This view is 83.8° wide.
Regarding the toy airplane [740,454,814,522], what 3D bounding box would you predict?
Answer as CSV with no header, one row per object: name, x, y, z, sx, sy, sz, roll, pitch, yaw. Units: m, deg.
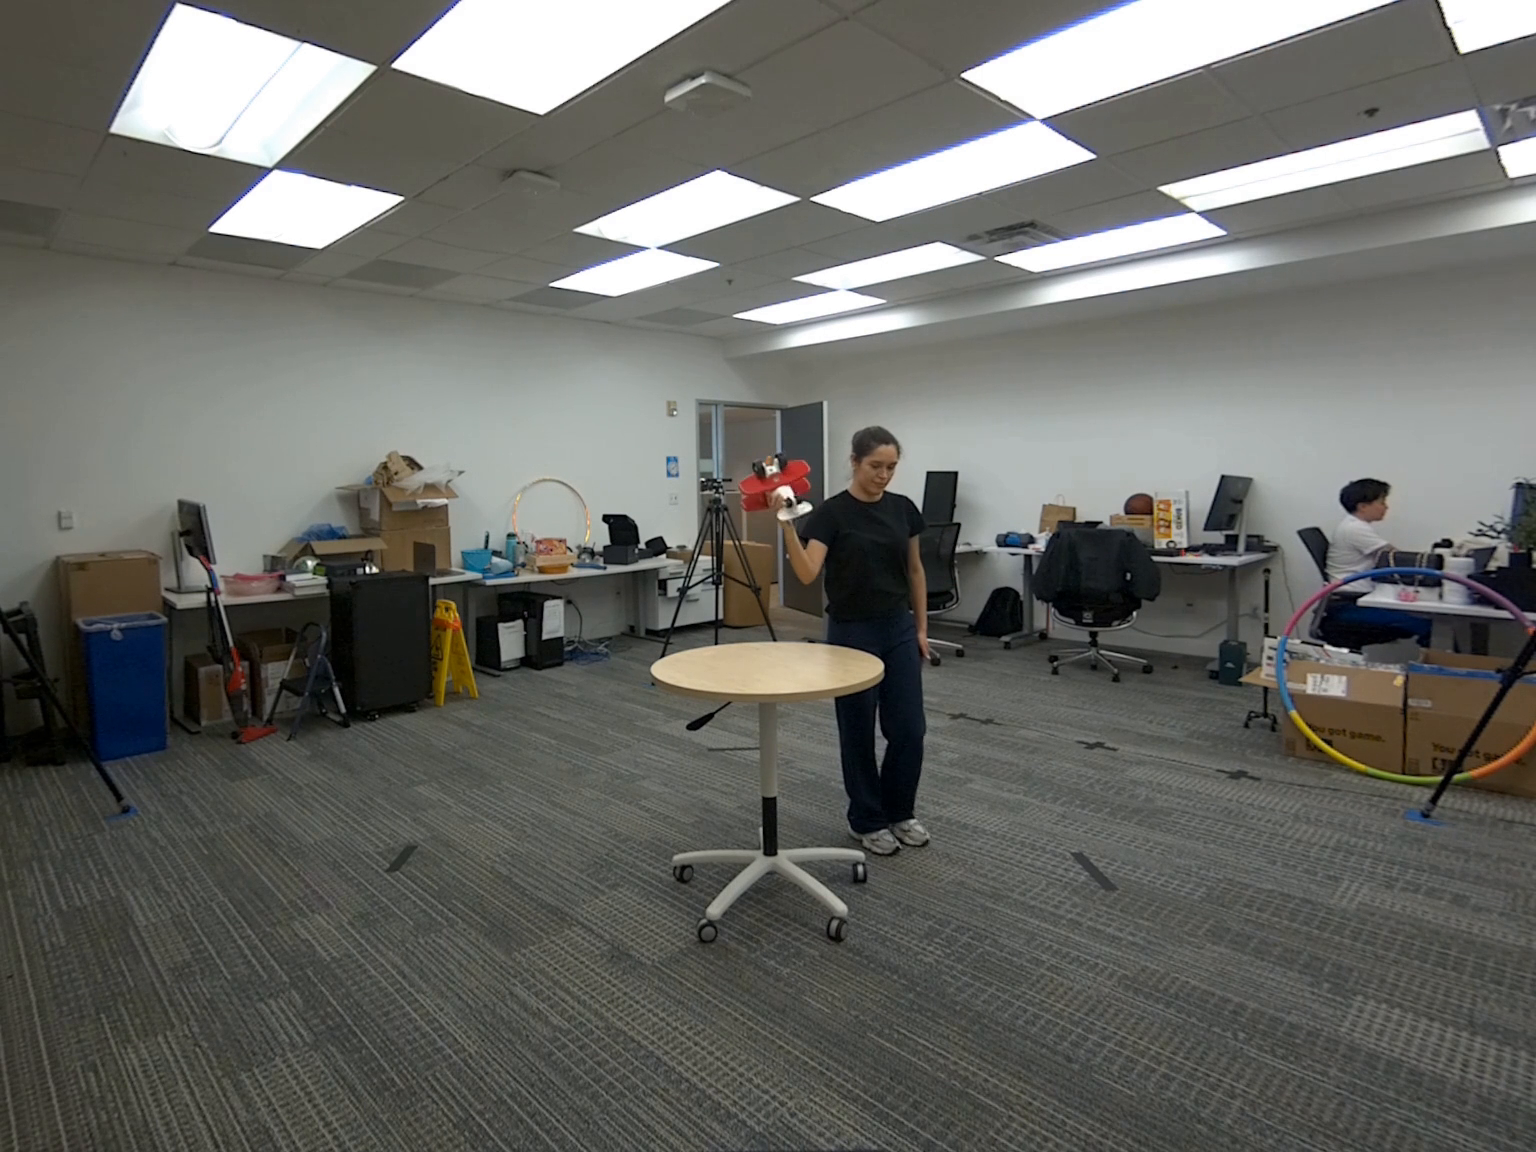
toy airplane,0.041,-0.279,2.895,0.252,0.265,0.153,4,-31,2
